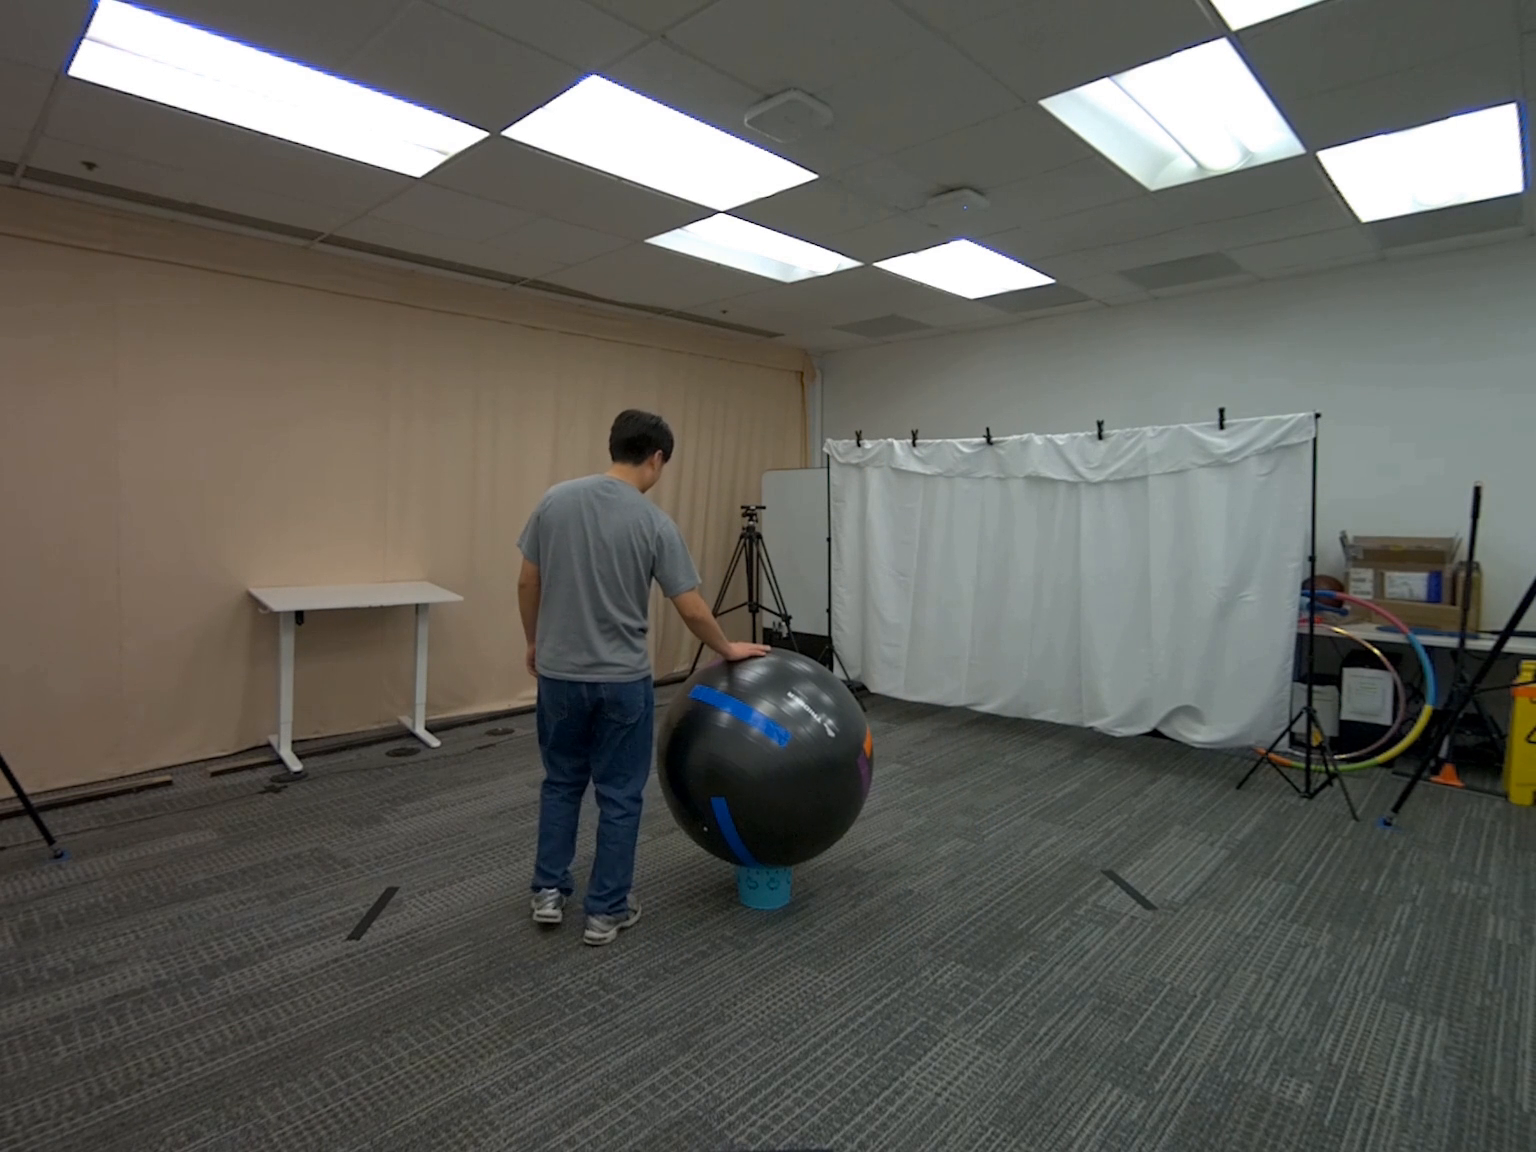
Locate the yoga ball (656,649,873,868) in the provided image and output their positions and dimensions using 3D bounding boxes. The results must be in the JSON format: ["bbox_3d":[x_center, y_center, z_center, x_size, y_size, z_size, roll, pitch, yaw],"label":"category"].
[{"bbox_3d":[-0.011,0.634,2.974,0.757,0.756,0.760,0,4,-2],"label":"yoga ball"}]
